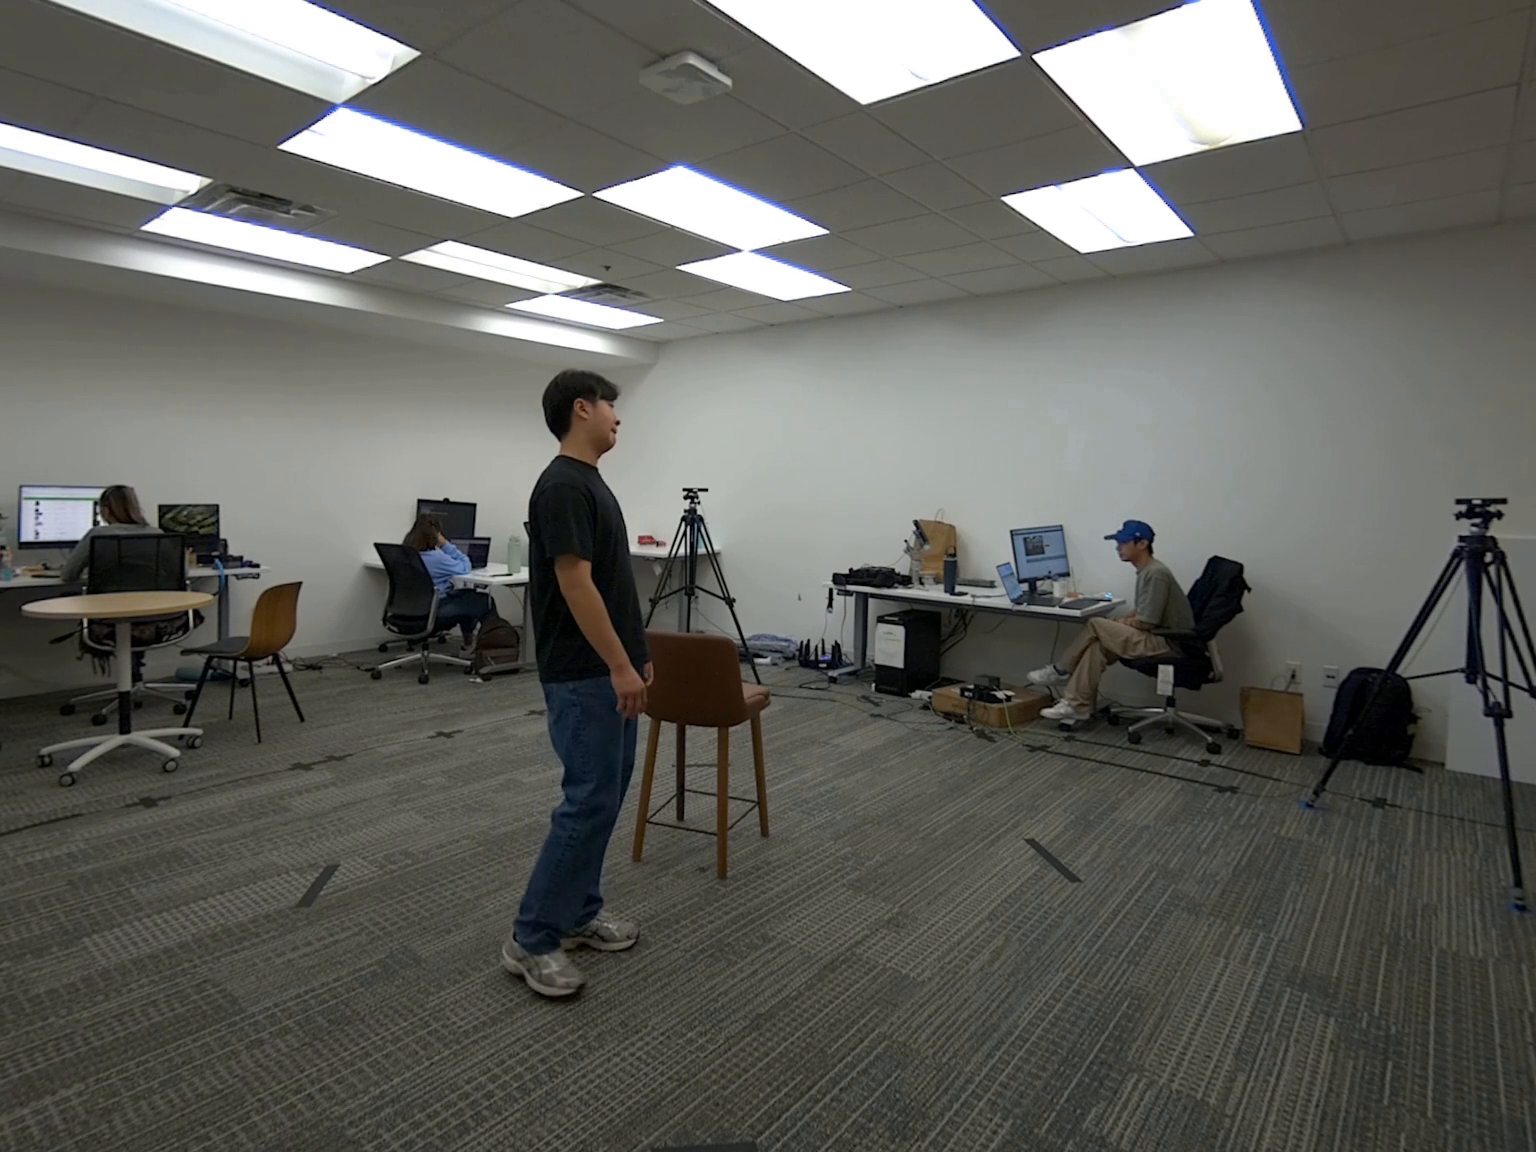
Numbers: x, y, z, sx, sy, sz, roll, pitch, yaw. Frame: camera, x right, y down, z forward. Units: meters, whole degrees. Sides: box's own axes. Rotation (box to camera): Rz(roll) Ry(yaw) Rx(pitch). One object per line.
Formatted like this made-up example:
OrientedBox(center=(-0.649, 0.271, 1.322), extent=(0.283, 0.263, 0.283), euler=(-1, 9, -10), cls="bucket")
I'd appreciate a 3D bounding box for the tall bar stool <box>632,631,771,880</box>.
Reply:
OrientedBox(center=(-0.262, 0.616, 3.281), extent=(0.467, 0.886, 0.459), euler=(2, 5, 22), cls="tall bar stool")
